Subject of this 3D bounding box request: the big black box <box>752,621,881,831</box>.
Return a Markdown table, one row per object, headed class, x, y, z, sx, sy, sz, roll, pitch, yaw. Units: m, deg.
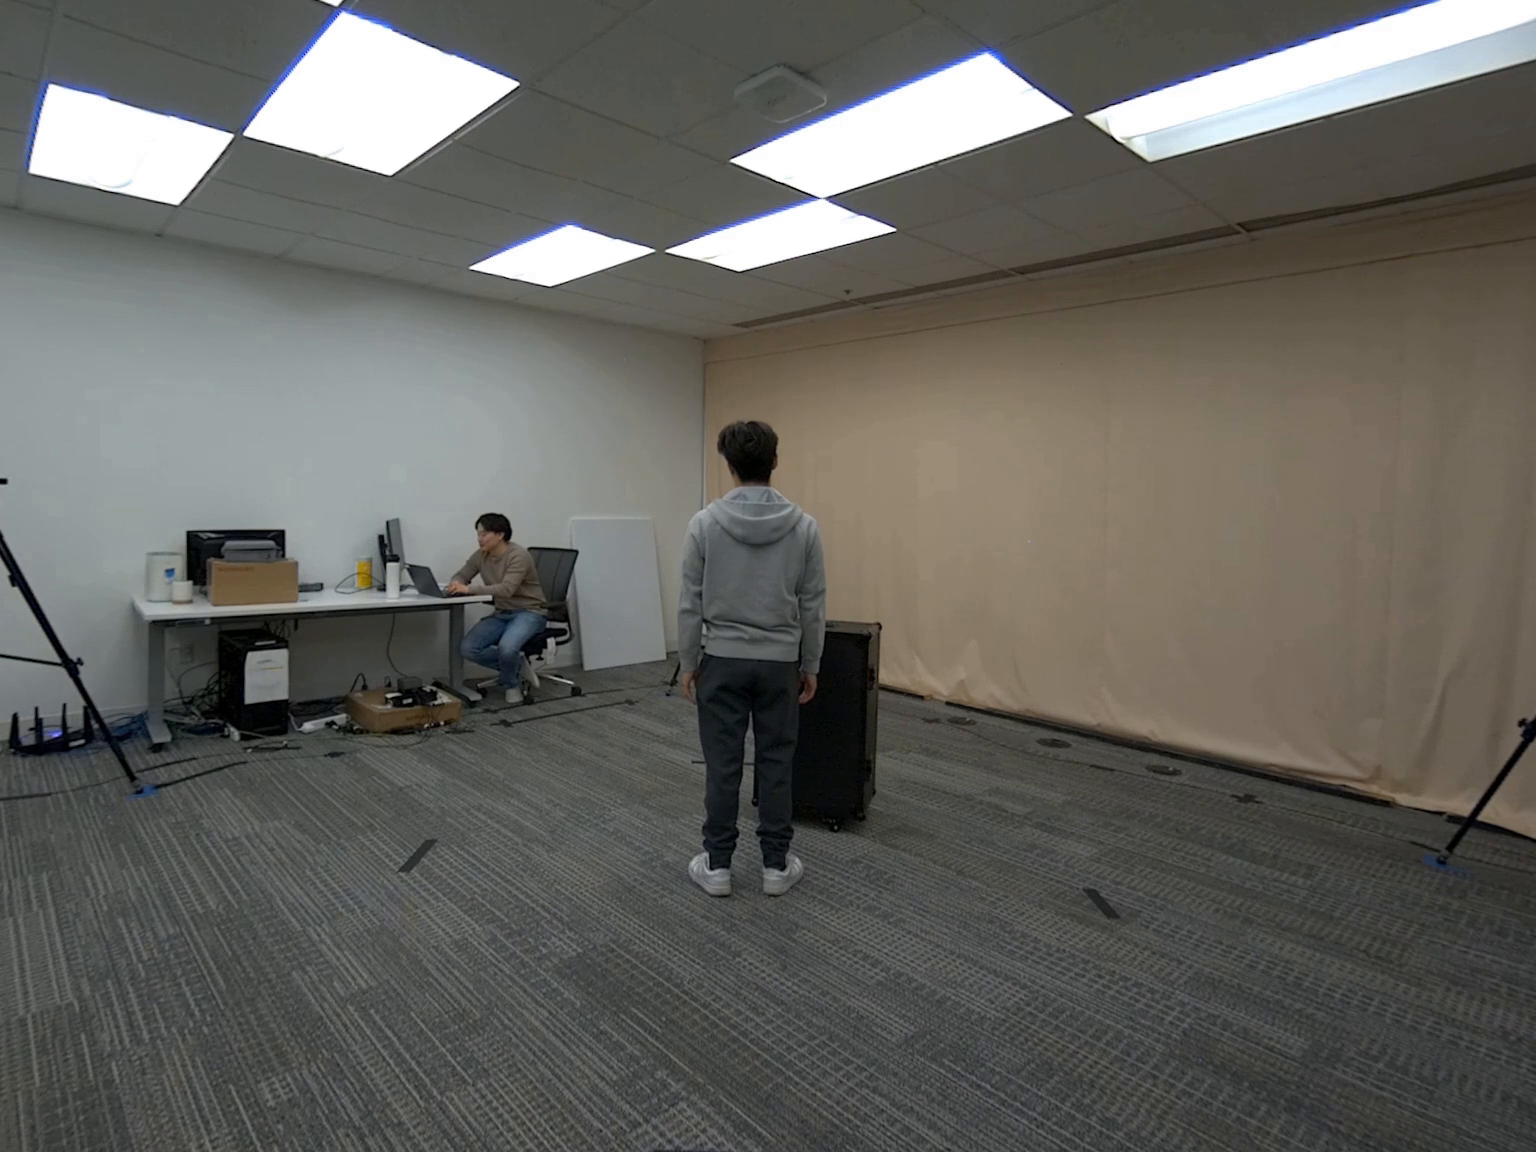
| class | x | y | z | sx | sy | sz | roll | pitch | yaw |
| --- | --- | --- | --- | --- | --- | --- | --- | --- | --- |
| big black box | 0.223 | 0.639 | 3.733 | 0.529 | 0.860 | 0.391 | 3 | 2 | 18 |
